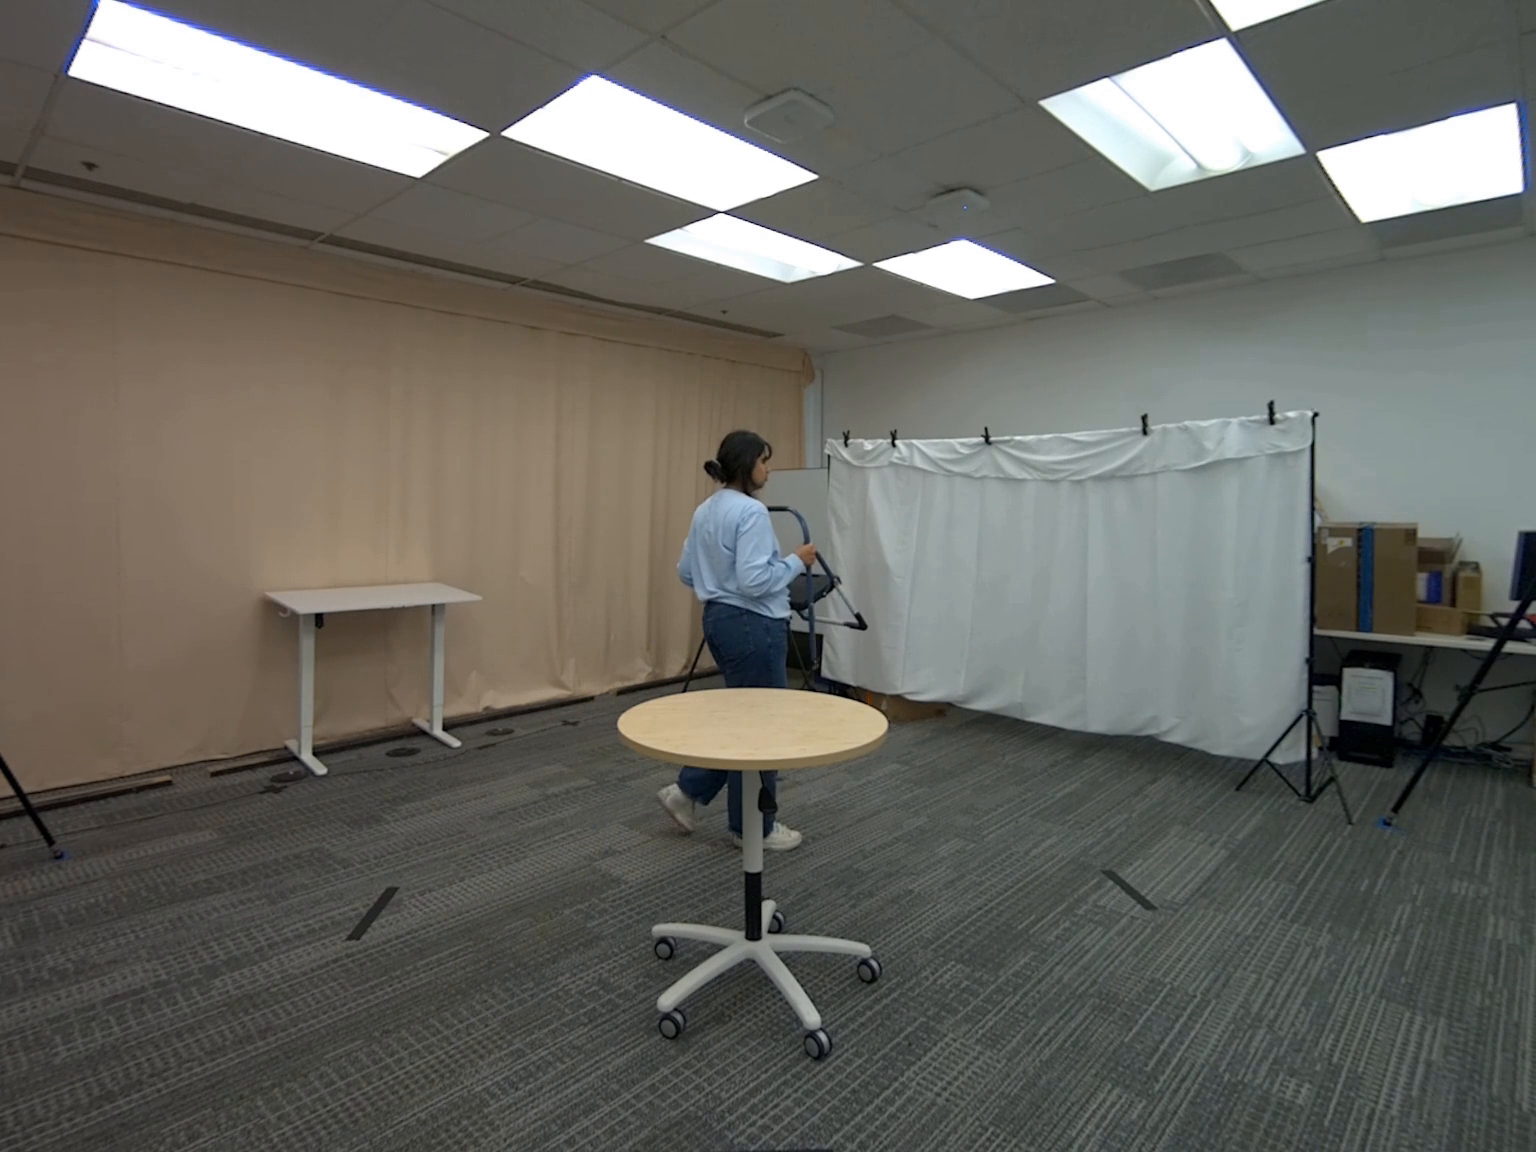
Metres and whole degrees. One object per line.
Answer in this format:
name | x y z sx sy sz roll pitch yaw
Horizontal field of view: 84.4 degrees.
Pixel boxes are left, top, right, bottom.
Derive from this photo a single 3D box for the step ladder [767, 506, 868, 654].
step ladder | 0.085 0.015 3.532 0.343 0.597 0.444 -30 19 -31
